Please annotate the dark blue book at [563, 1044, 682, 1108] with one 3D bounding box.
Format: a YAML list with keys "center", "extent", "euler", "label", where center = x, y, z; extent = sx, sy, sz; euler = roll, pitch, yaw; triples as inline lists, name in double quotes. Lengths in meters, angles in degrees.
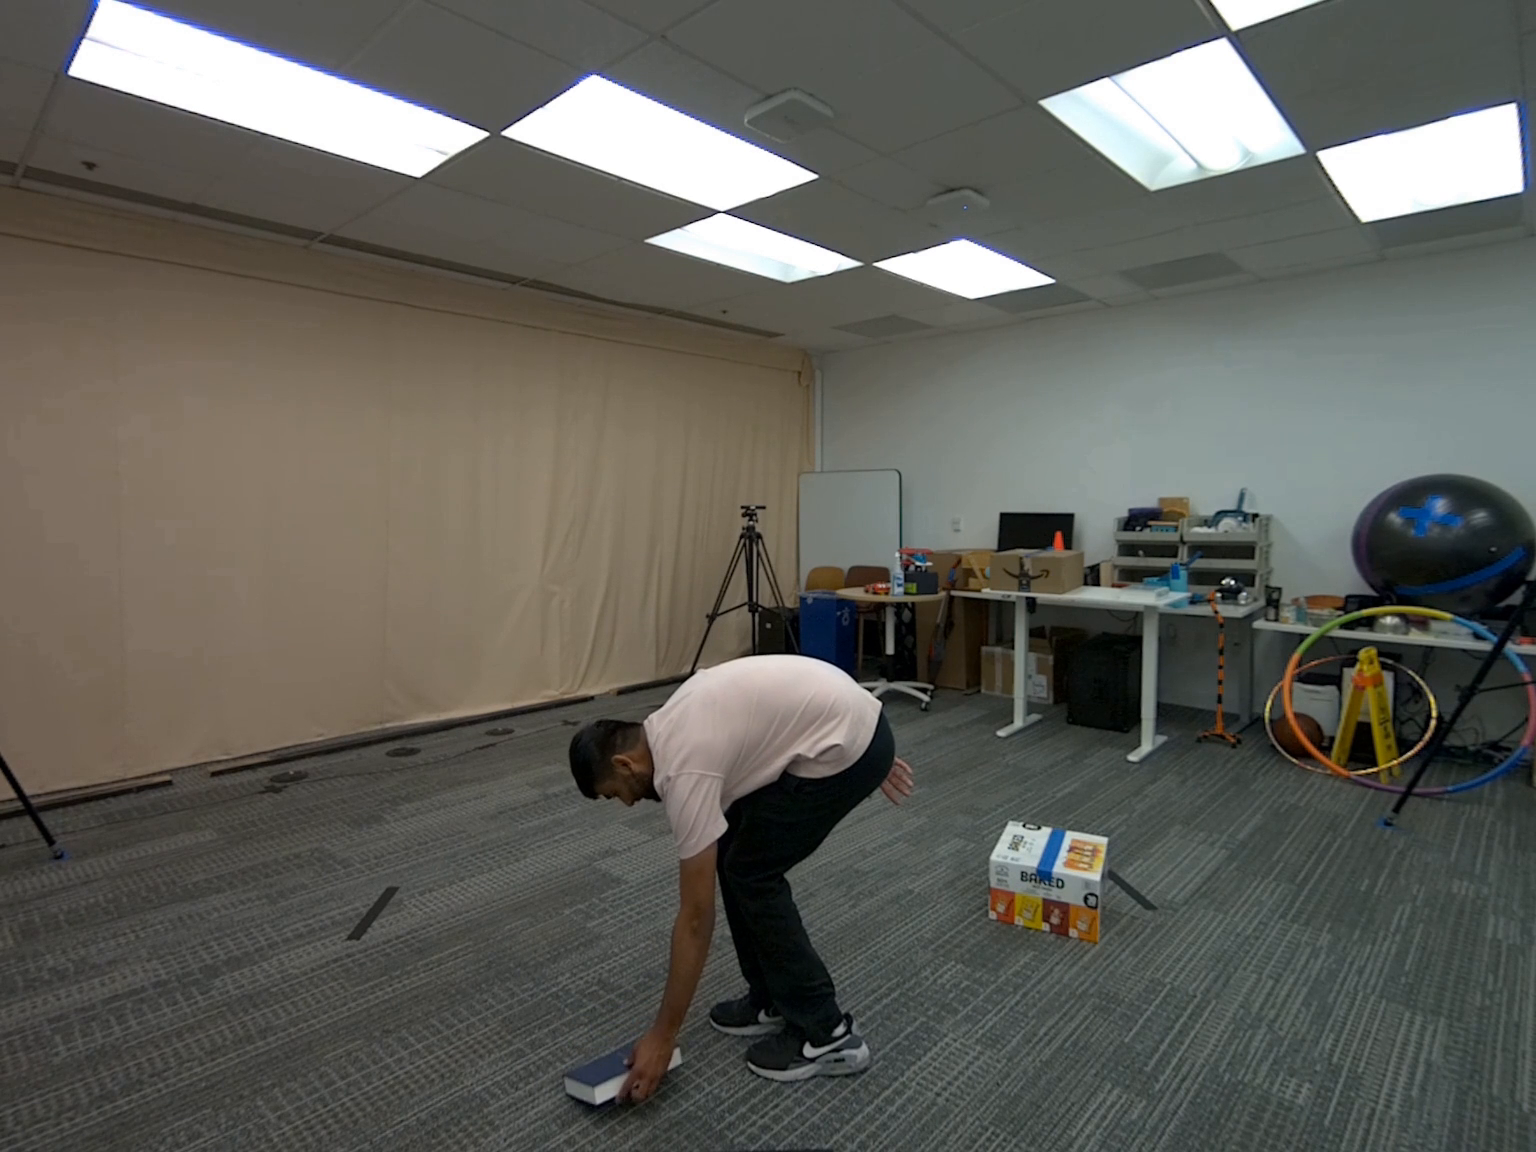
- center: [-0.342, 1.186, 2.013]
  extent: [0.238, 0.045, 0.167]
  euler: [-3, -14, -40]
  label: "dark blue book"
